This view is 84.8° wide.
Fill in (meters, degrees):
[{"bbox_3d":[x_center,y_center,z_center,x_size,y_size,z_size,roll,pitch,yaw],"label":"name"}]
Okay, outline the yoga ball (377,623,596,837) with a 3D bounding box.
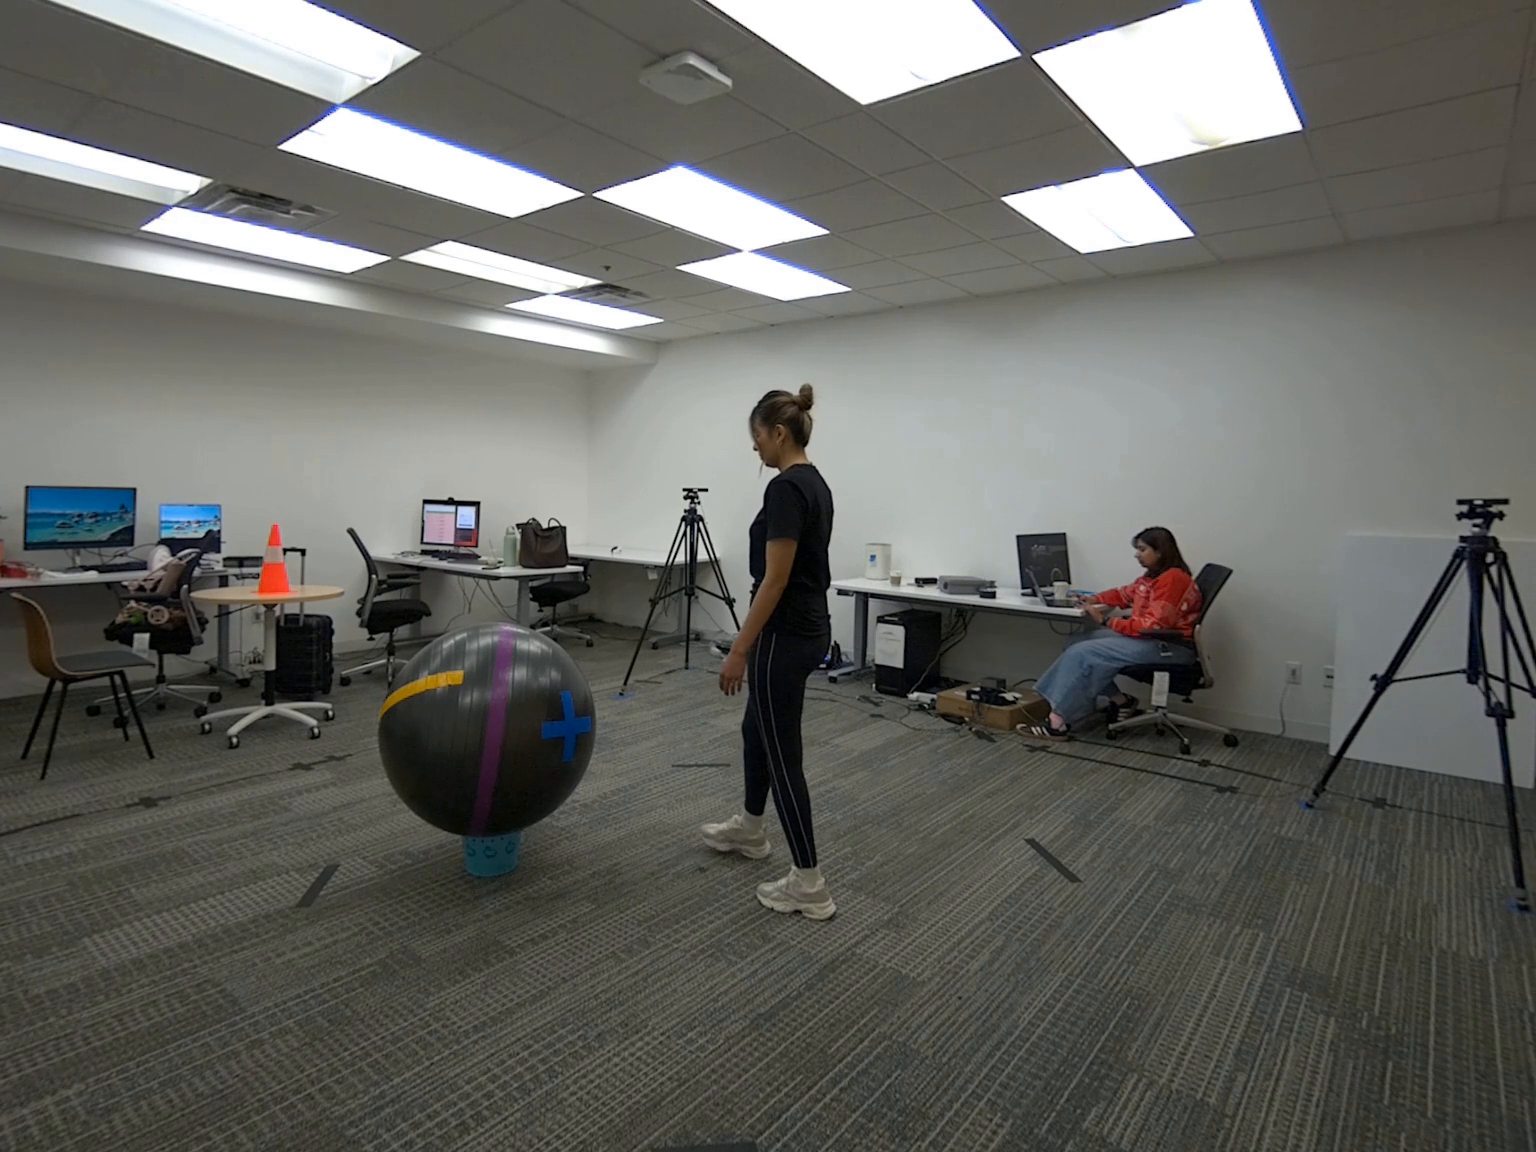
[{"bbox_3d":[-1.027,0.553,3.082,0.757,0.756,0.762,1,4,-2],"label":"yoga ball"}]
